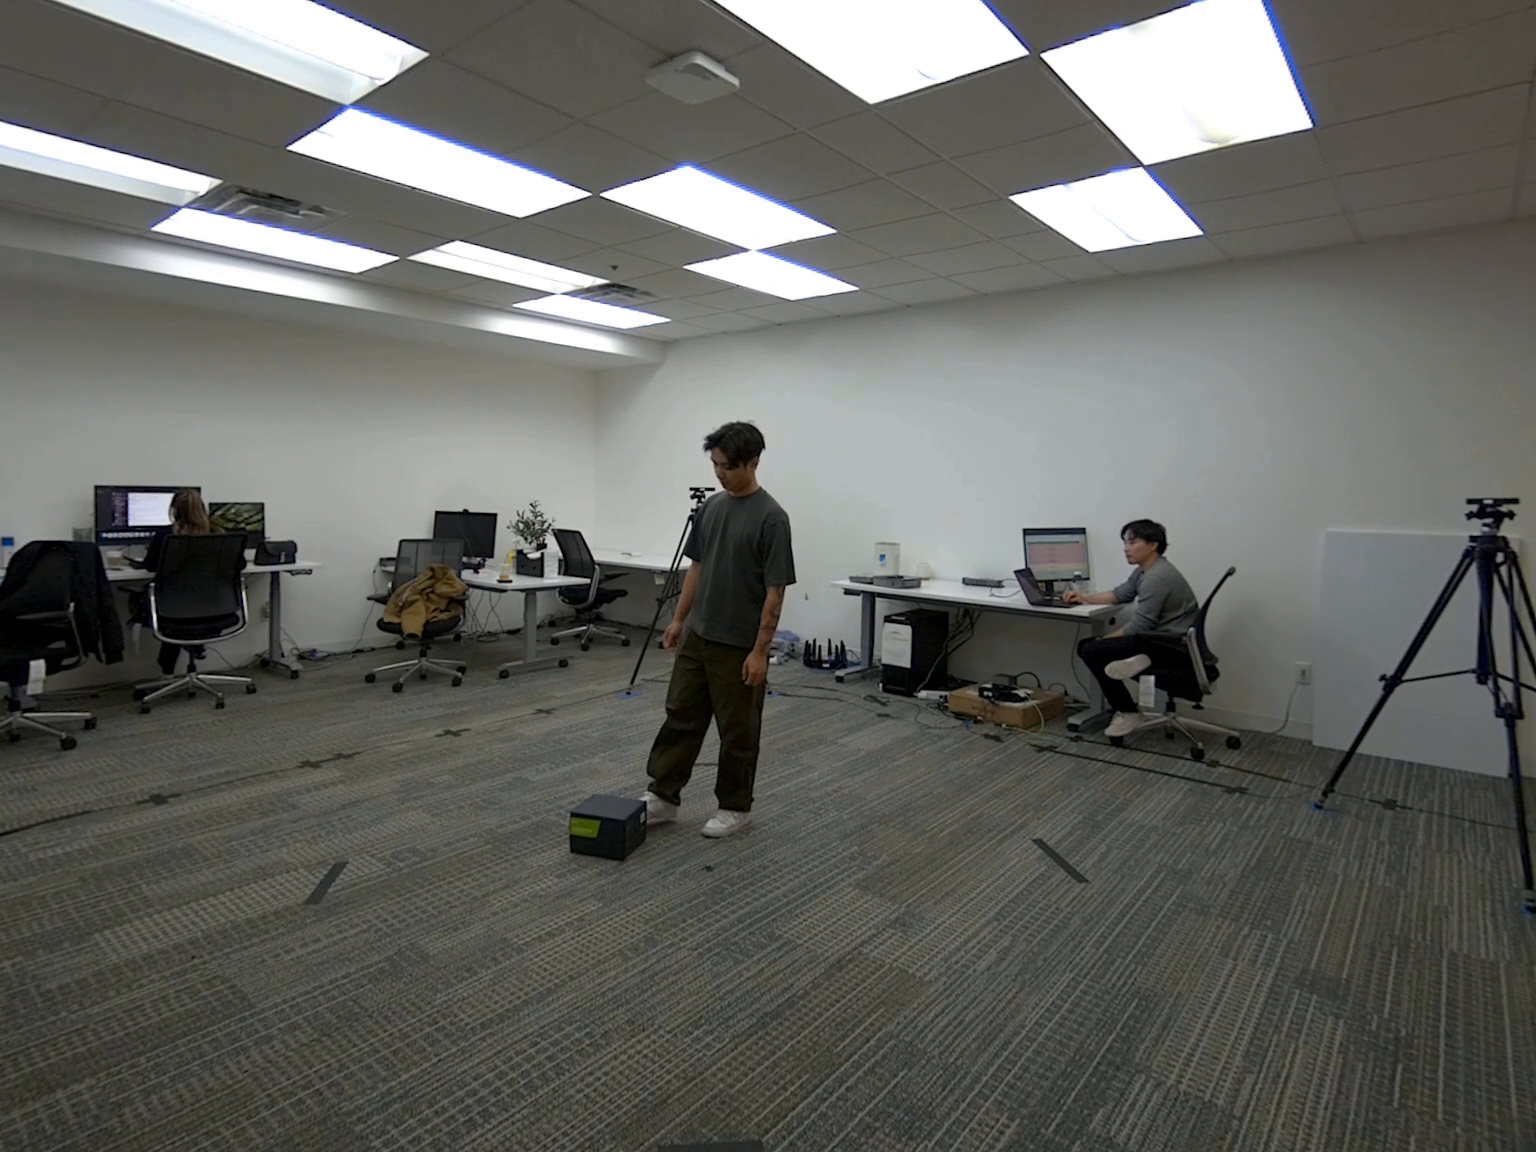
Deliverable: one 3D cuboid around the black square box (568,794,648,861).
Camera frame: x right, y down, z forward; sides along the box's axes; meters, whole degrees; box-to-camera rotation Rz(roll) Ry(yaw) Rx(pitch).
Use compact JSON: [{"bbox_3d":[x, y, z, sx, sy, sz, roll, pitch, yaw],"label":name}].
[{"bbox_3d":[-0.626,0.956,3.285,0.232,0.155,0.214,2,4,16],"label":"black square box"}]
